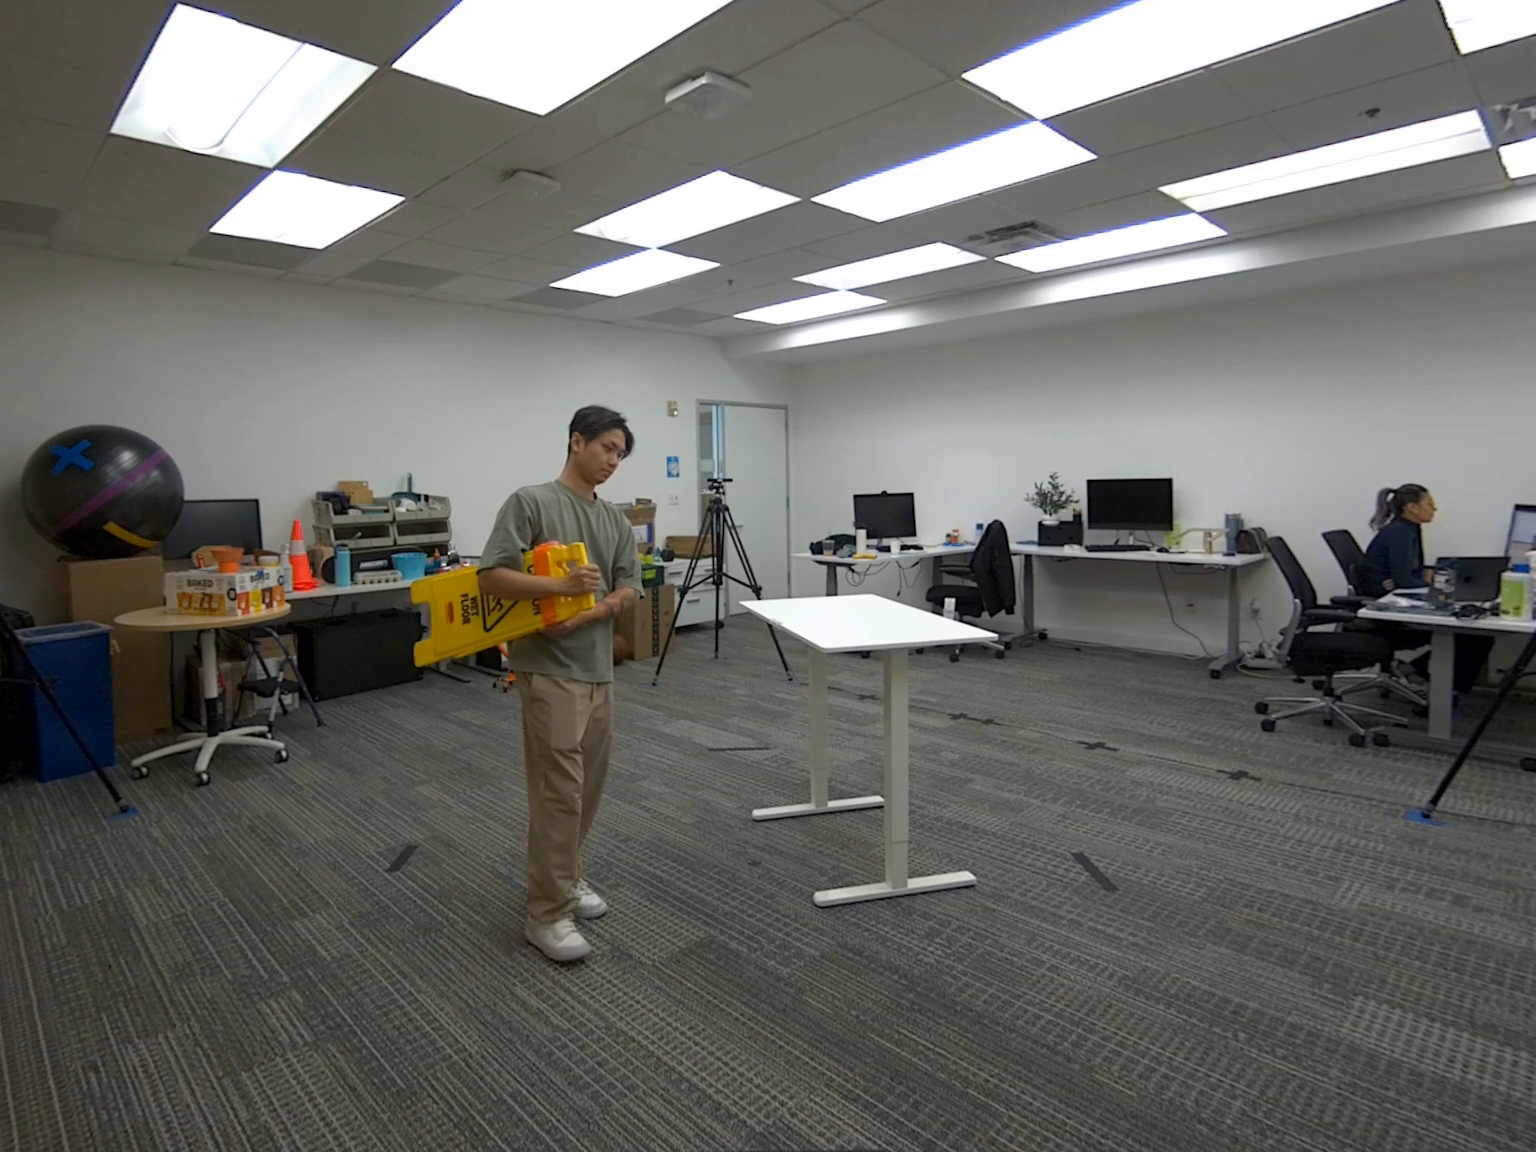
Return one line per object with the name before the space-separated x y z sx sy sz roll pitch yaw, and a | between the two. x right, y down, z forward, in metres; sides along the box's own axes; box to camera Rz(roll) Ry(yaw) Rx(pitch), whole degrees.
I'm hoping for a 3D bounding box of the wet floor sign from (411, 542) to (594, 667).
wet floor sign | -0.792 0.079 2.627 0.657 0.286 0.281 -16 -12 29
